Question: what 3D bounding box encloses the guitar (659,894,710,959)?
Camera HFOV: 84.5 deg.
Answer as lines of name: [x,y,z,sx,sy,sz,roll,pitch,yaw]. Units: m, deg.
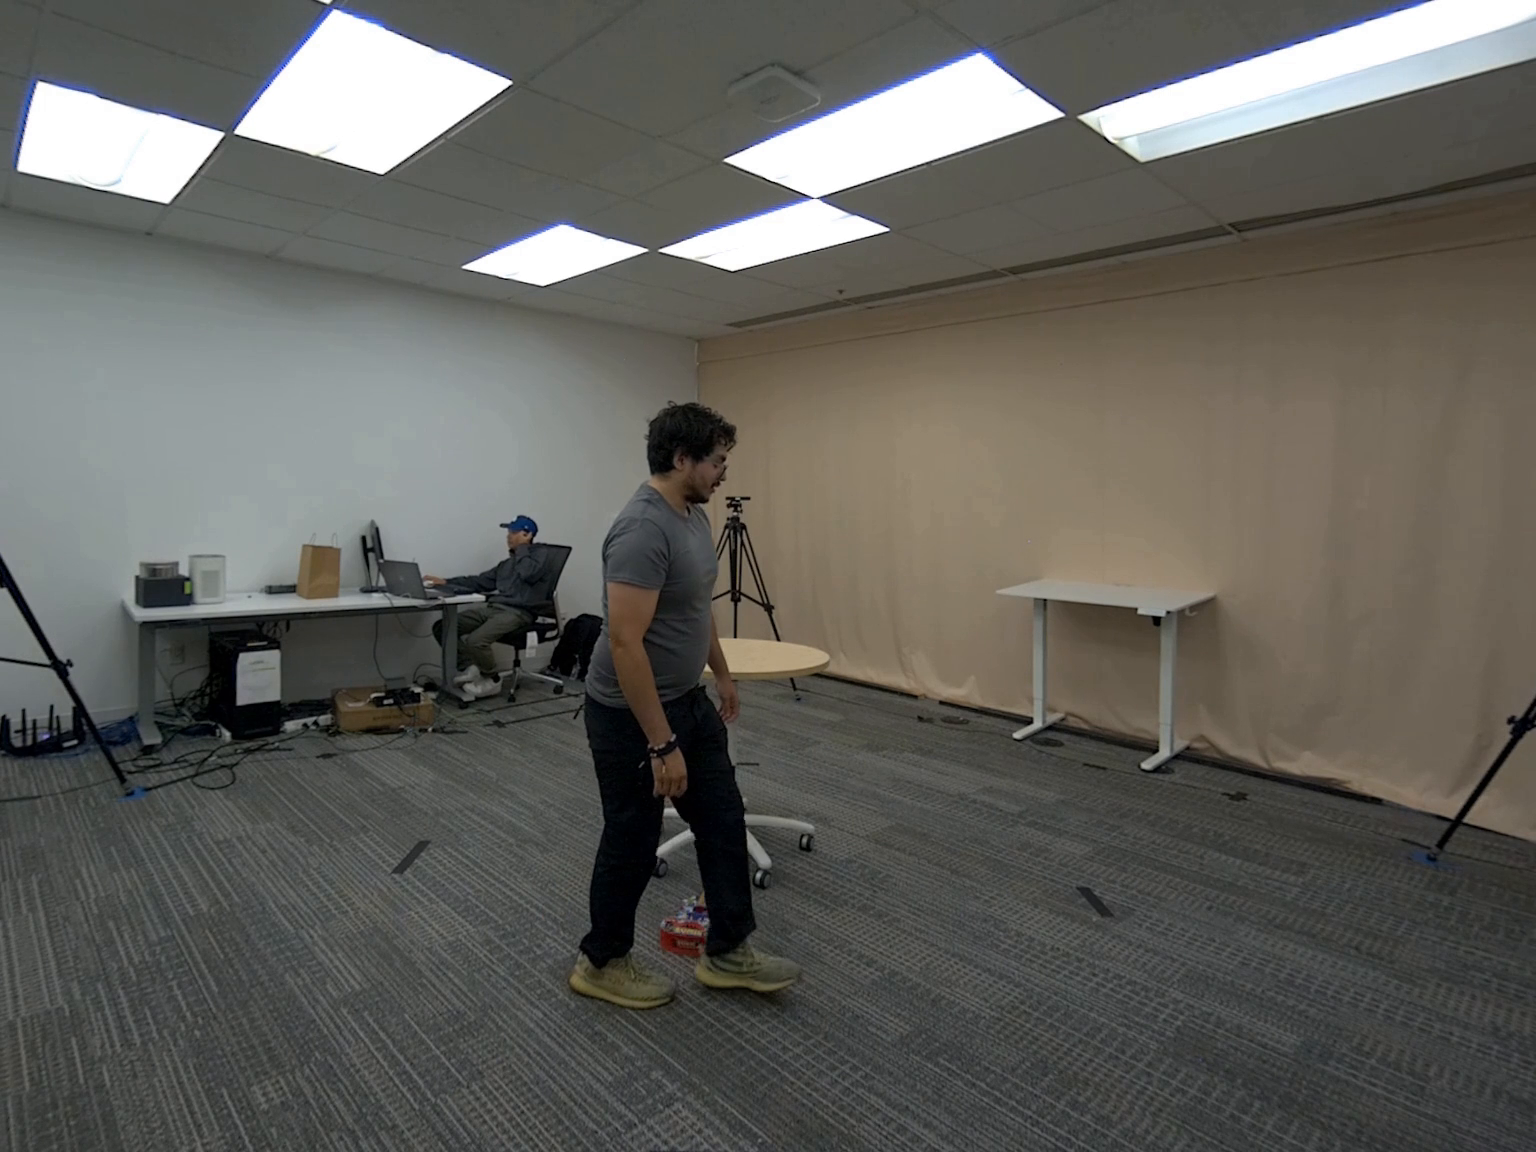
guitar: [-0.185,1.095,2.792,0.196,0.070,0.491,2,6,19]
